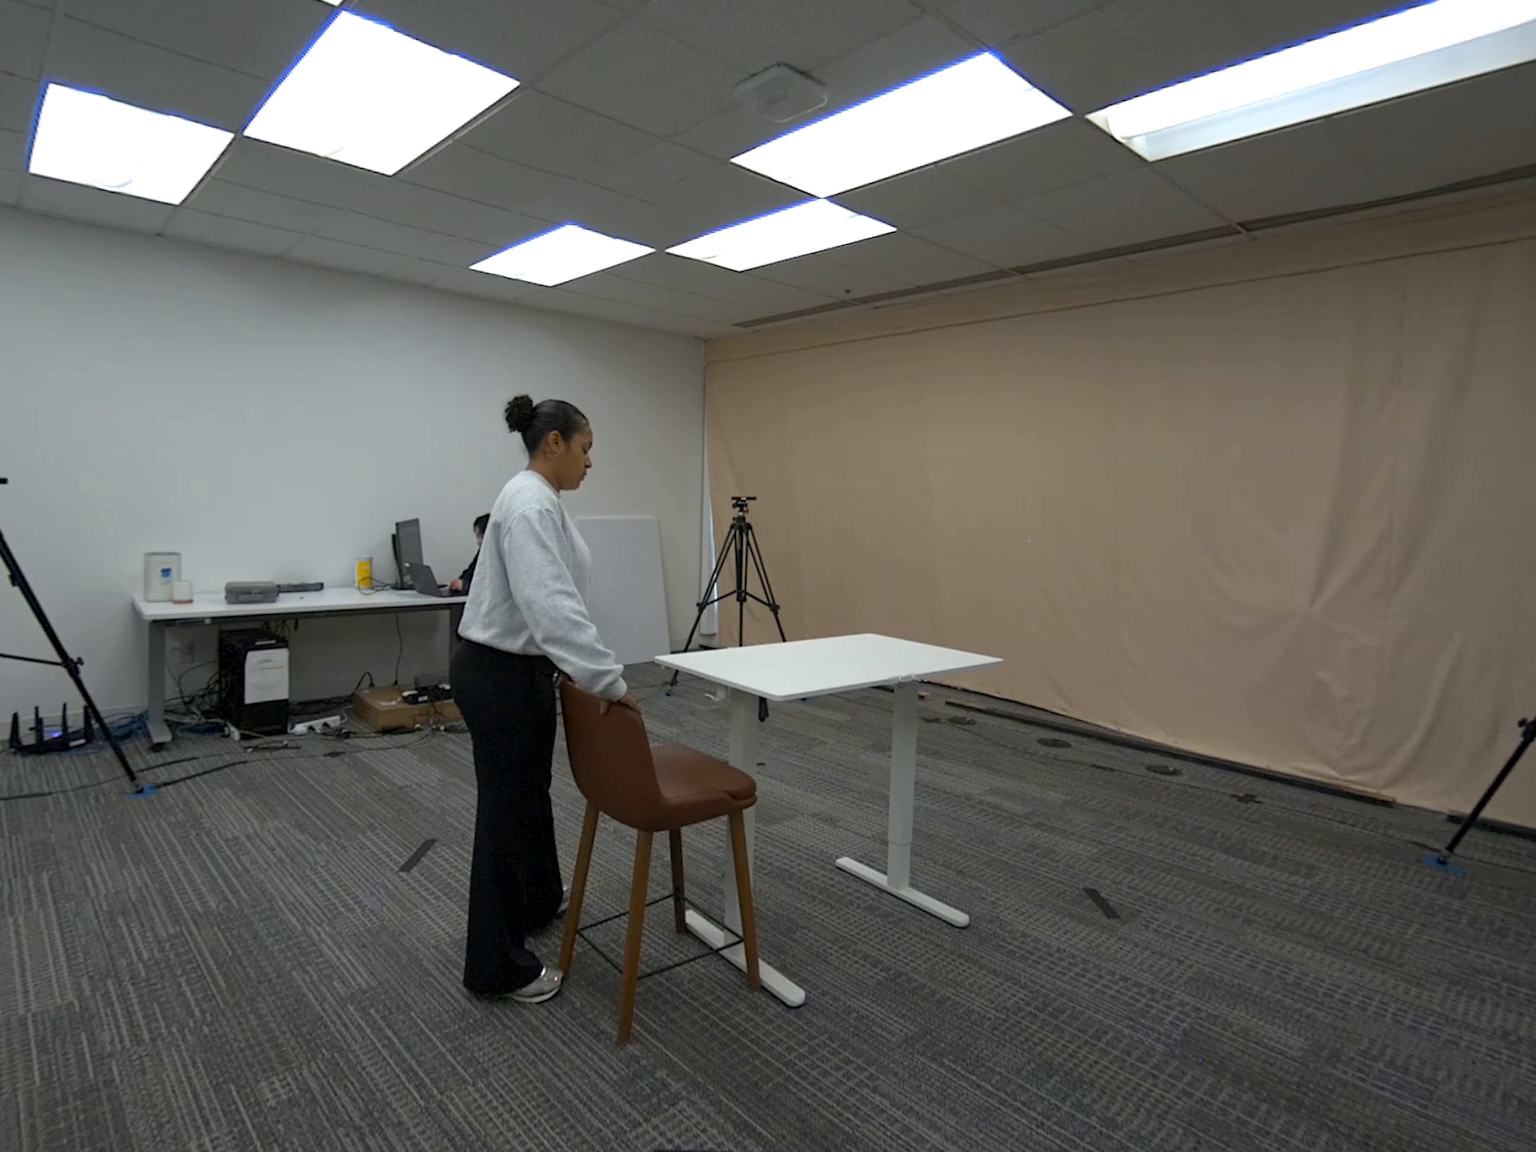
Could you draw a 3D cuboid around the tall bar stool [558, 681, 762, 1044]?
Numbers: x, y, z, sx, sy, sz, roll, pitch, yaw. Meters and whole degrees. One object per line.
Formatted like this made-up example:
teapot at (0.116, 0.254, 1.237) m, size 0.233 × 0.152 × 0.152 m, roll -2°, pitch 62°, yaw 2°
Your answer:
tall bar stool at (-0.323, 0.730, 2.380) m, size 0.457 × 0.886 × 0.468 m, roll -4°, pitch 6°, yaw -39°
